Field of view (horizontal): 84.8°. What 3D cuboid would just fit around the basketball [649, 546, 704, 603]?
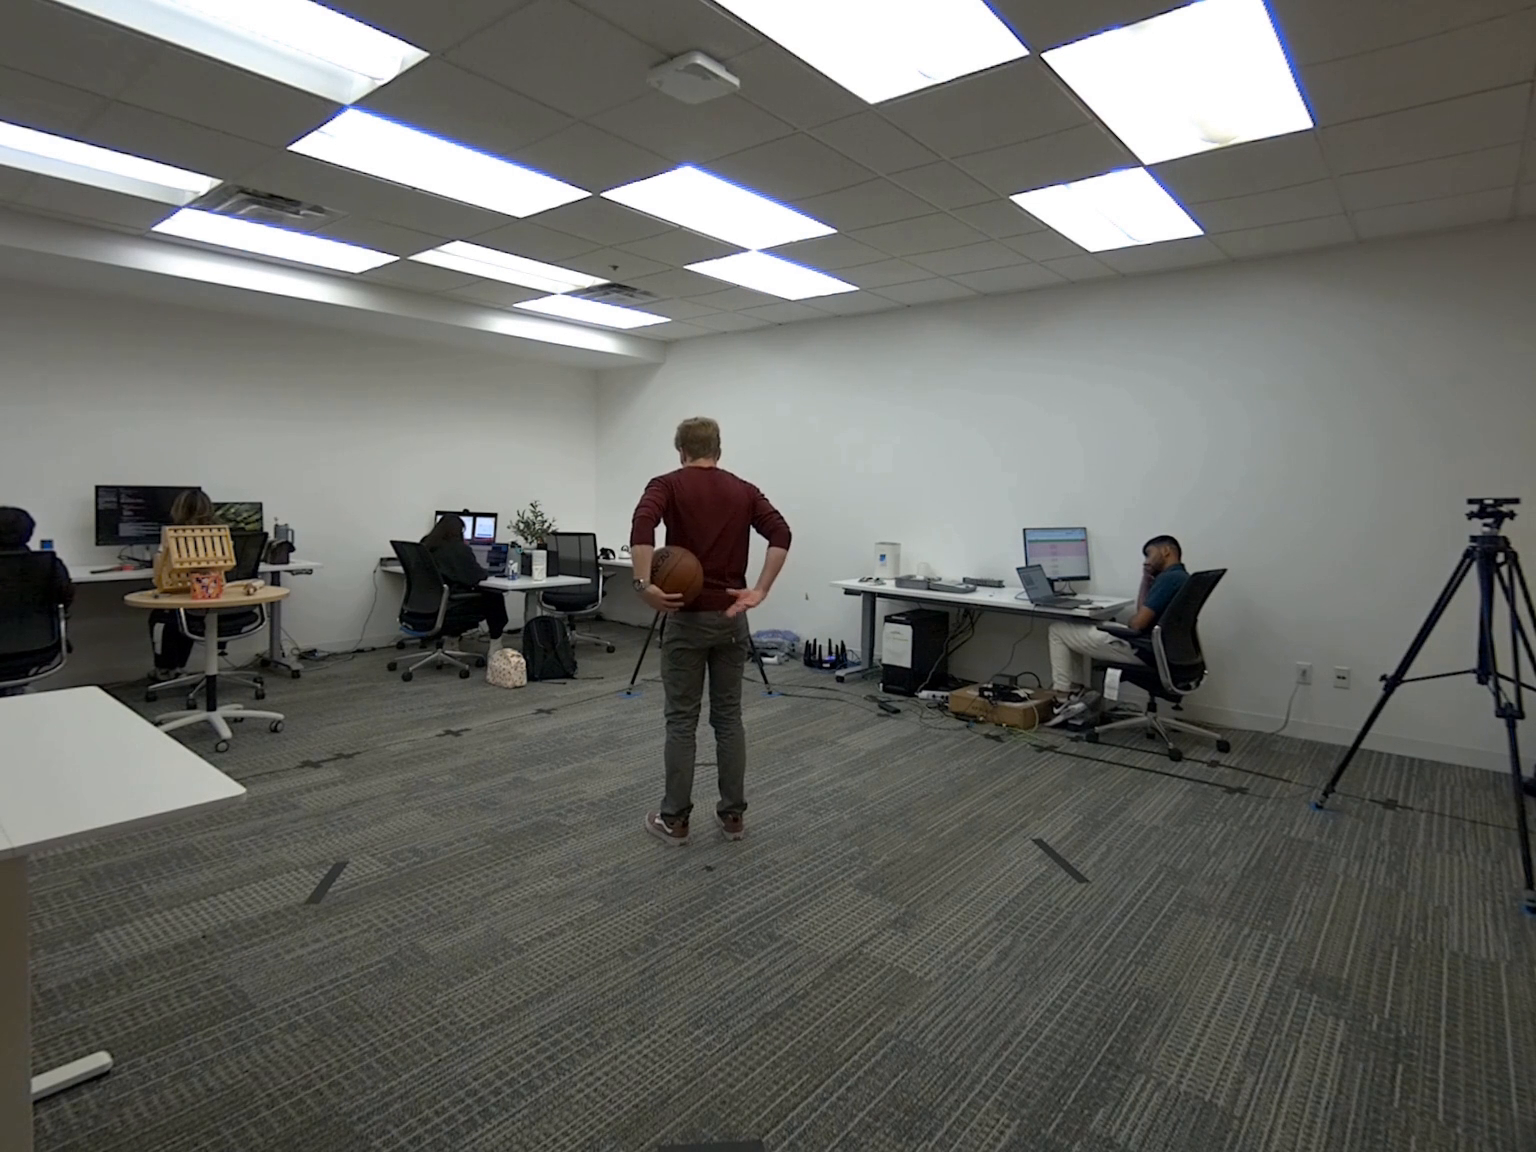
[{"bbox_3d":[-0.372,0.000,3.201,0.235,0.235,0.237,1,4,-2],"label":"basketball"}]
